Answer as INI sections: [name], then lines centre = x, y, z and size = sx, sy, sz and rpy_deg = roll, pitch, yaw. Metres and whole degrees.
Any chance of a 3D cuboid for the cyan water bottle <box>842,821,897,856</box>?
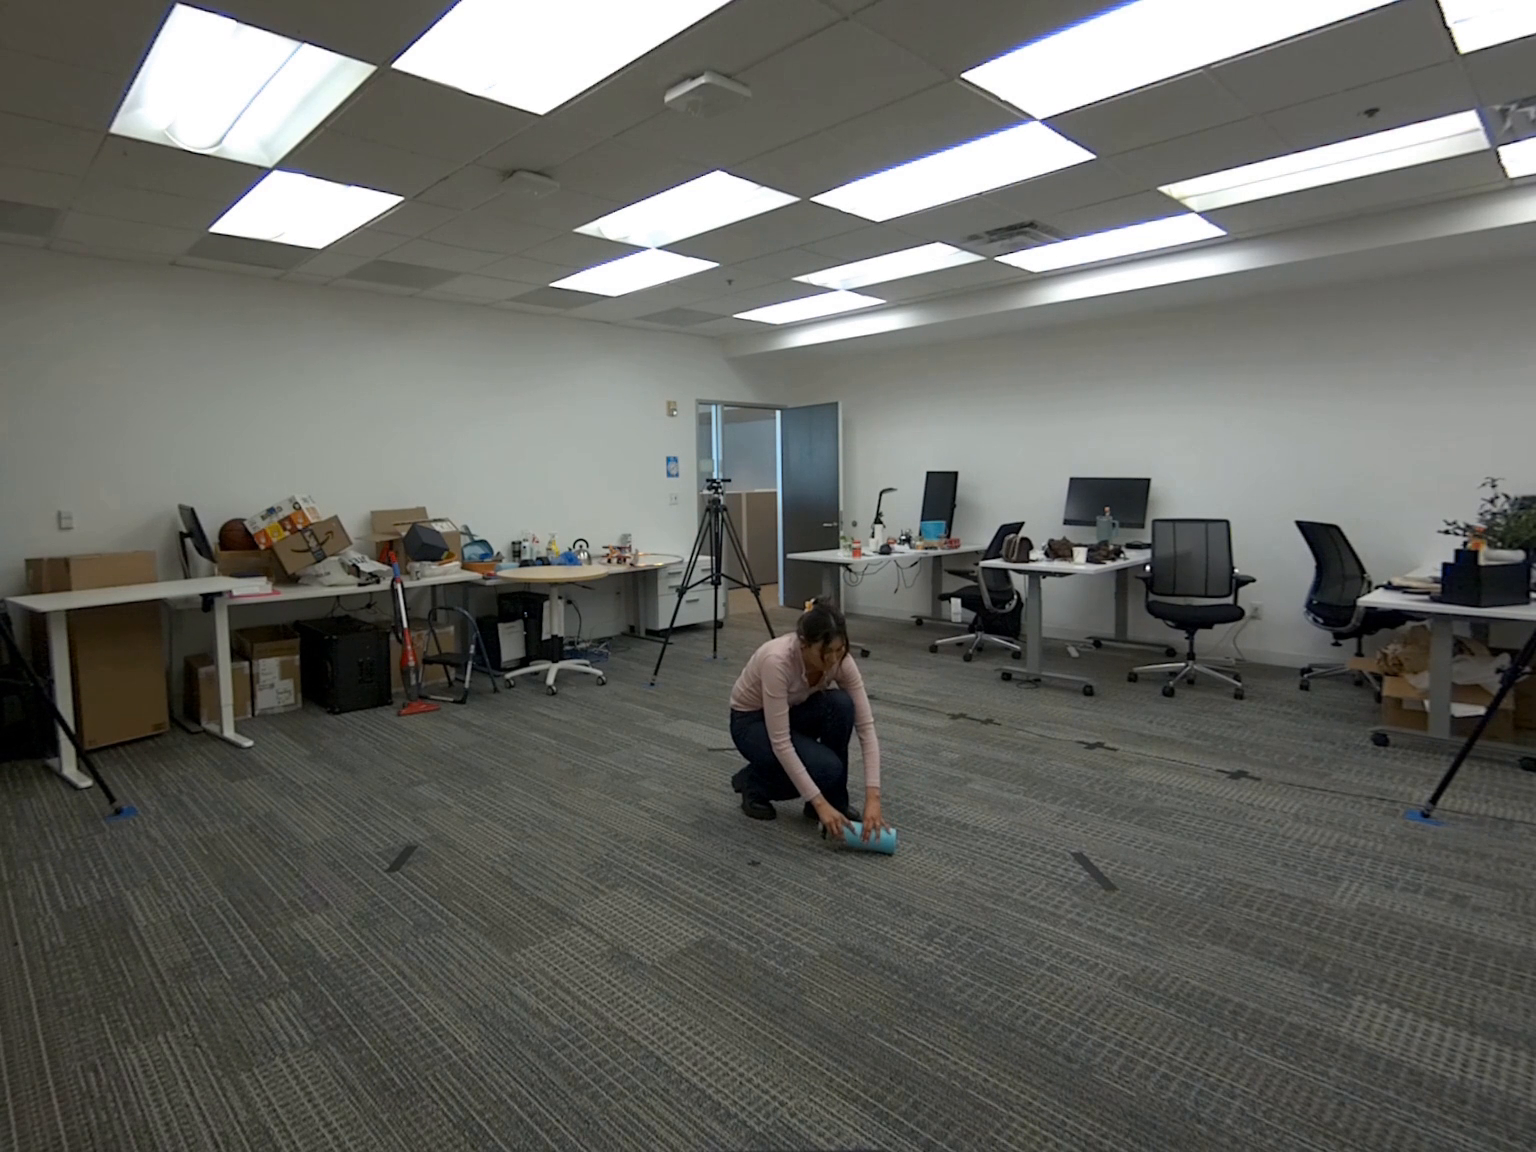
[cyan water bottle]
centre = 0.341, 0.972, 3.200
size = 0.286, 0.092, 0.092
rpy_deg = 4, 5, 9
